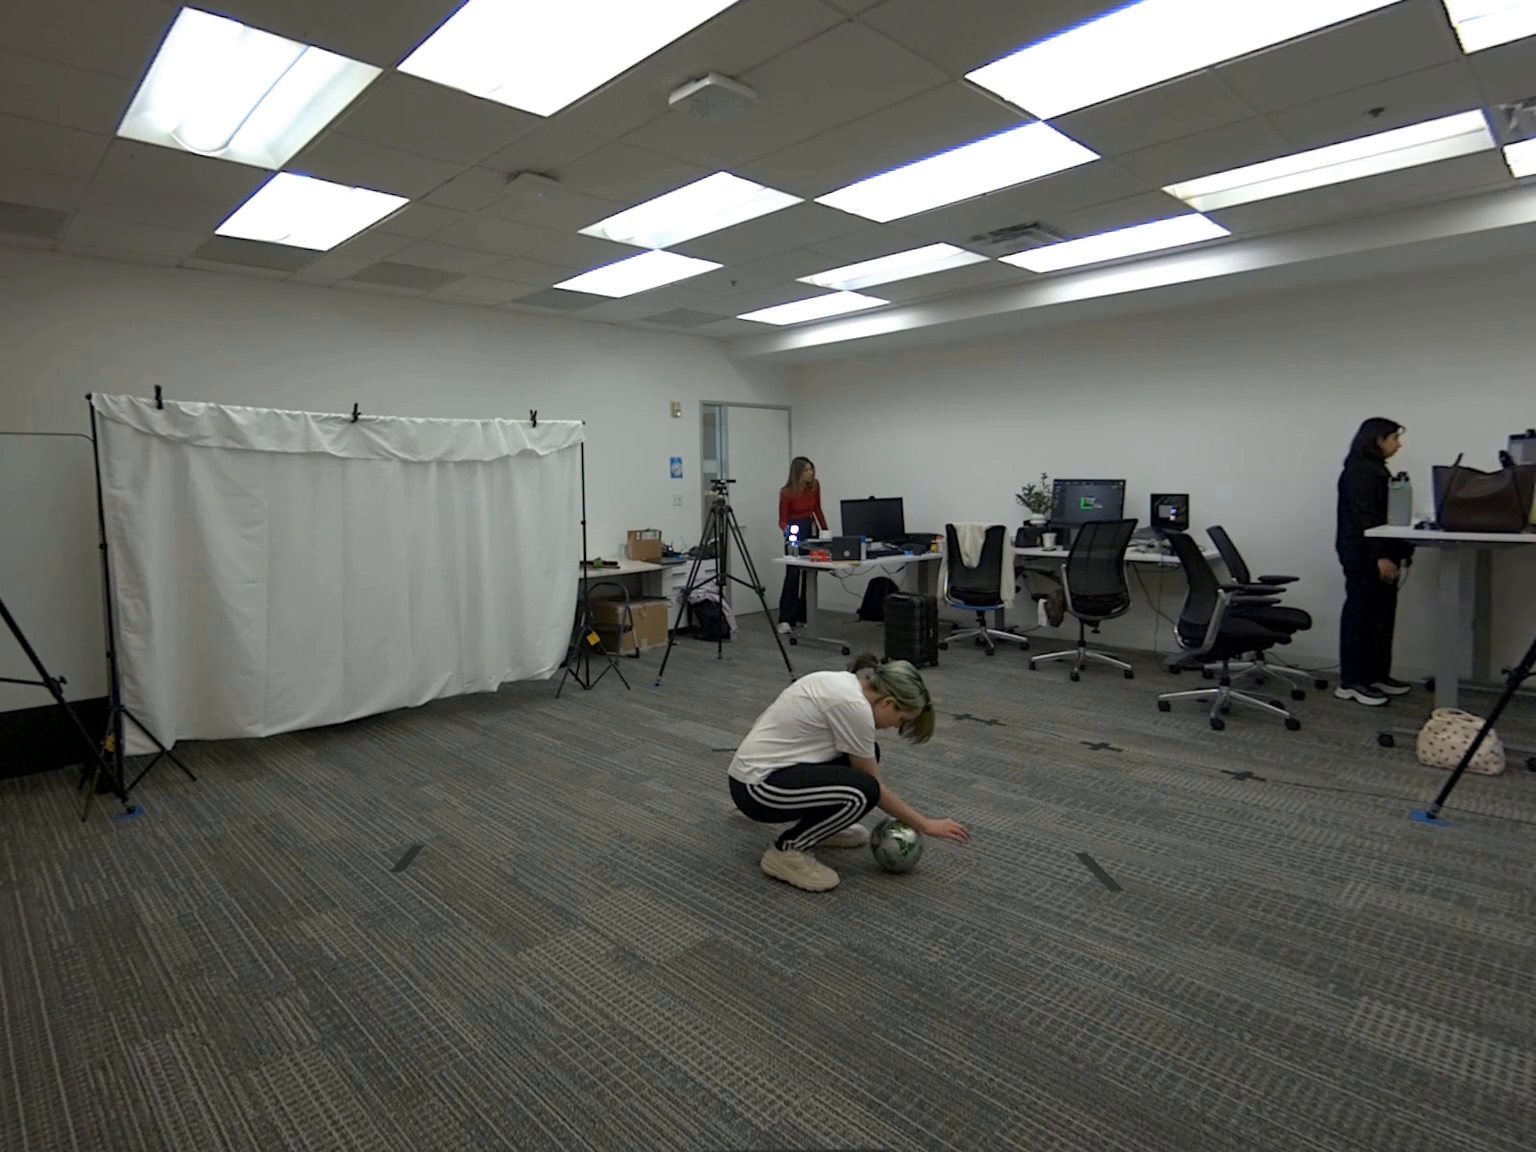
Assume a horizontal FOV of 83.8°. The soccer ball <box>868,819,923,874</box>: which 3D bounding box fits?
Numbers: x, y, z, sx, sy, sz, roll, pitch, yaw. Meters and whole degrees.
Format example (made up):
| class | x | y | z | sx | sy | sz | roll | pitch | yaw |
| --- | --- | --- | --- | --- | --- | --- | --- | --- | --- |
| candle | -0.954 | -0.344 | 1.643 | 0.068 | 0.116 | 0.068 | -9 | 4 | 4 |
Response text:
| class | x | y | z | sx | sy | sz | roll | pitch | yaw |
| --- | --- | --- | --- | --- | --- | --- | --- | --- | --- |
| soccer ball | 0.447 | 0.949 | 3.041 | 0.187 | 0.187 | 0.188 | -1 | 5 | -2 |
